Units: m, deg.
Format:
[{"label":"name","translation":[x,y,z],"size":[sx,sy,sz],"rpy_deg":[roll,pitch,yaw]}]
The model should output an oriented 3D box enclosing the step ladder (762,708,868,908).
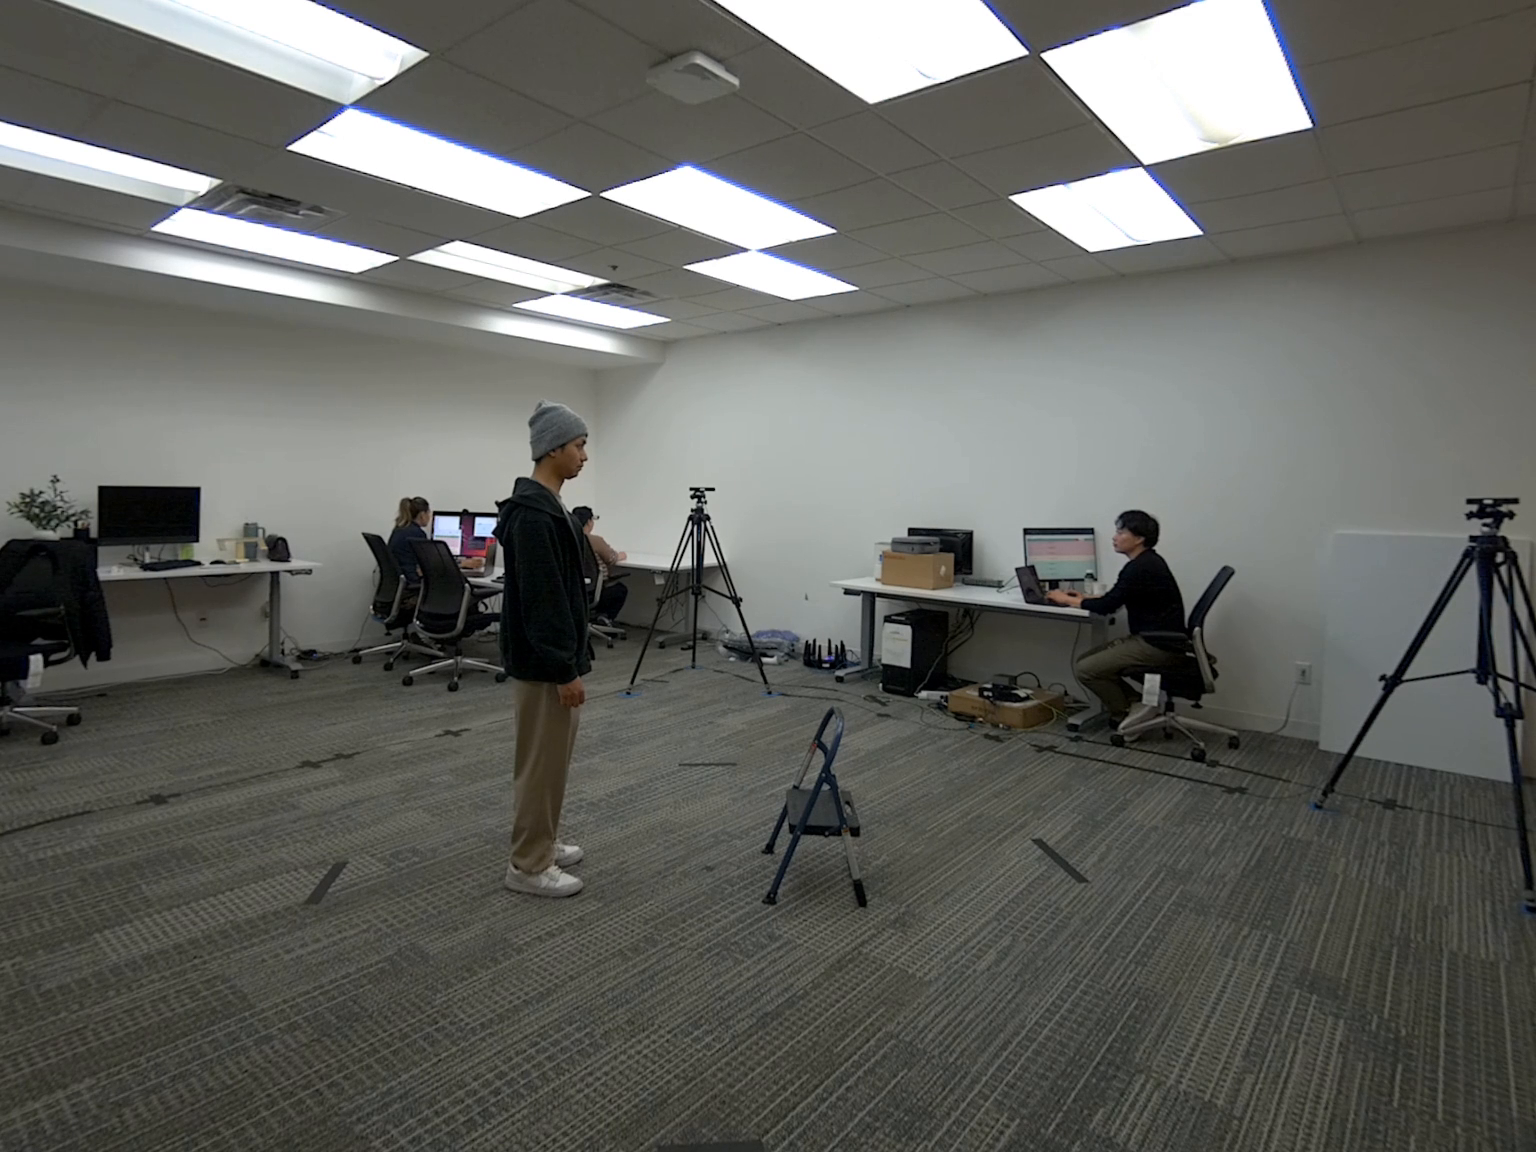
[{"label":"step ladder","translation":[0.161,0.783,3.033],"size":[0.350,0.604,0.432],"rpy_deg":[2,4,0]}]
